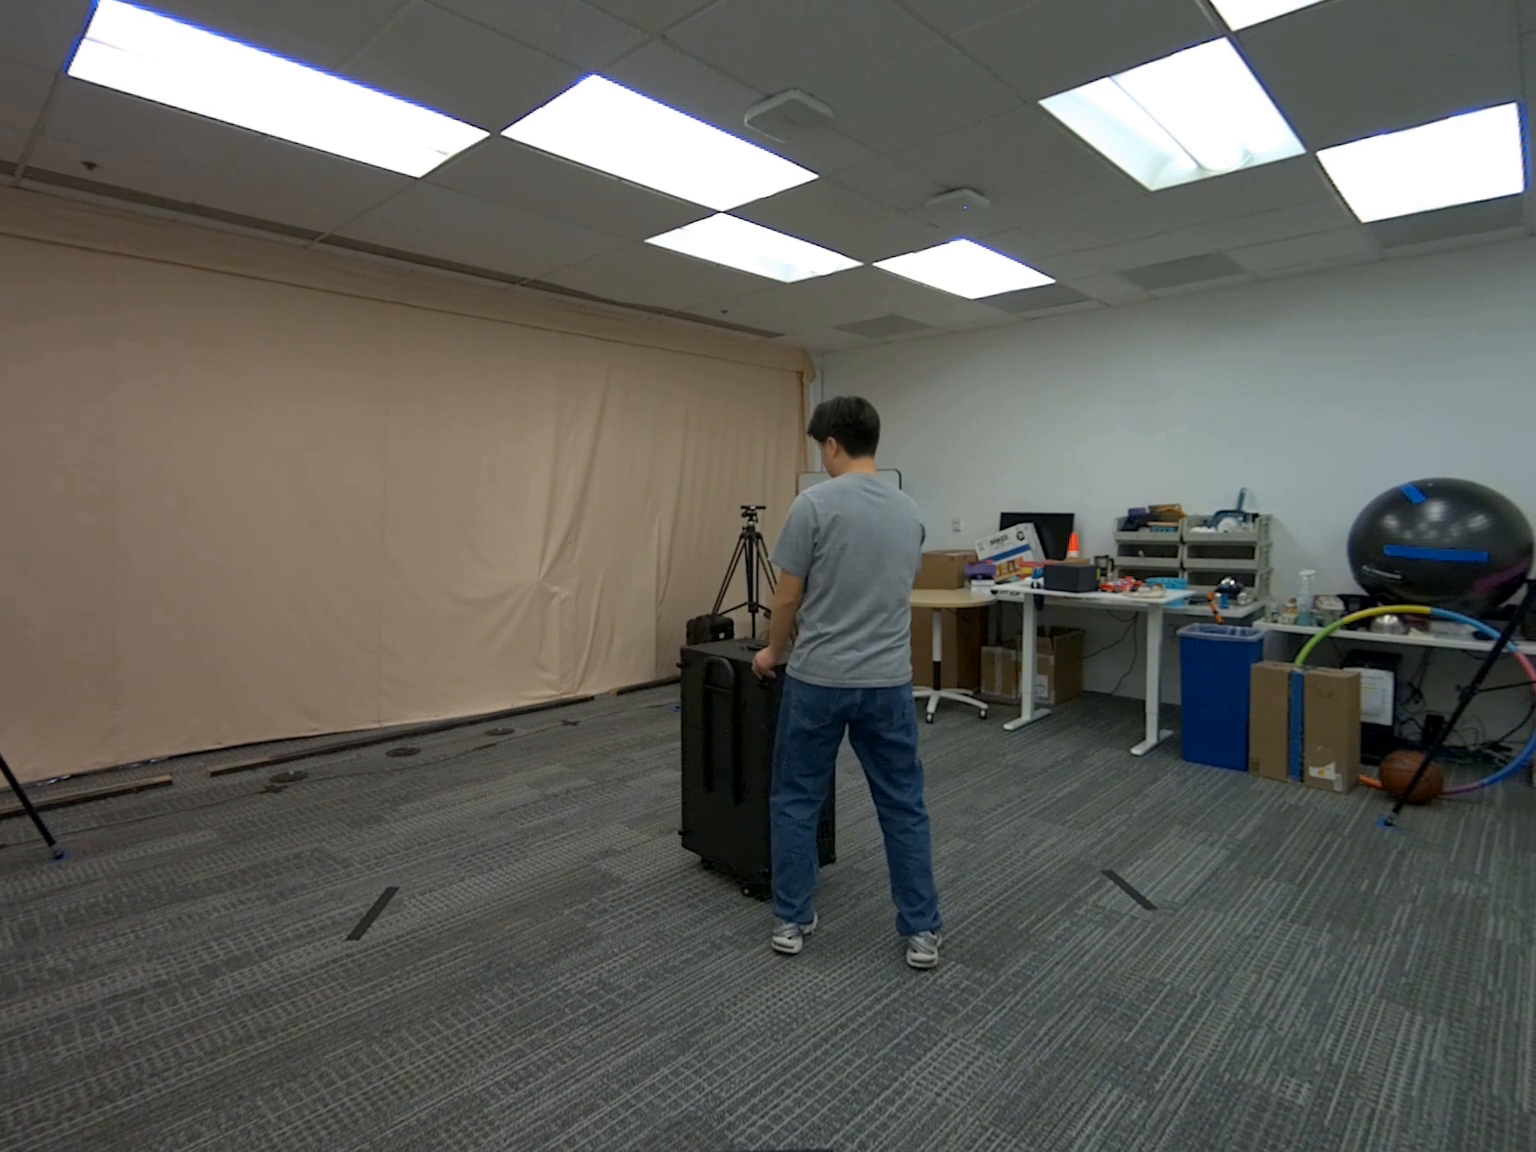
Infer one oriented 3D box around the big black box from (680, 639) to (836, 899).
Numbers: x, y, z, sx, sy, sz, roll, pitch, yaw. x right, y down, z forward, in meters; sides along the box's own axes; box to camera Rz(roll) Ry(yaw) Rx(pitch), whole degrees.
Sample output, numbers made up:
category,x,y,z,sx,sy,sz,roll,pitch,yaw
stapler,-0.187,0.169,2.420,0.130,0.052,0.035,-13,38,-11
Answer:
category,x,y,z,sx,sy,sz,roll,pitch,yaw
big black box,-0.043,0.703,3.160,0.384,0.859,0.539,-4,5,-42
